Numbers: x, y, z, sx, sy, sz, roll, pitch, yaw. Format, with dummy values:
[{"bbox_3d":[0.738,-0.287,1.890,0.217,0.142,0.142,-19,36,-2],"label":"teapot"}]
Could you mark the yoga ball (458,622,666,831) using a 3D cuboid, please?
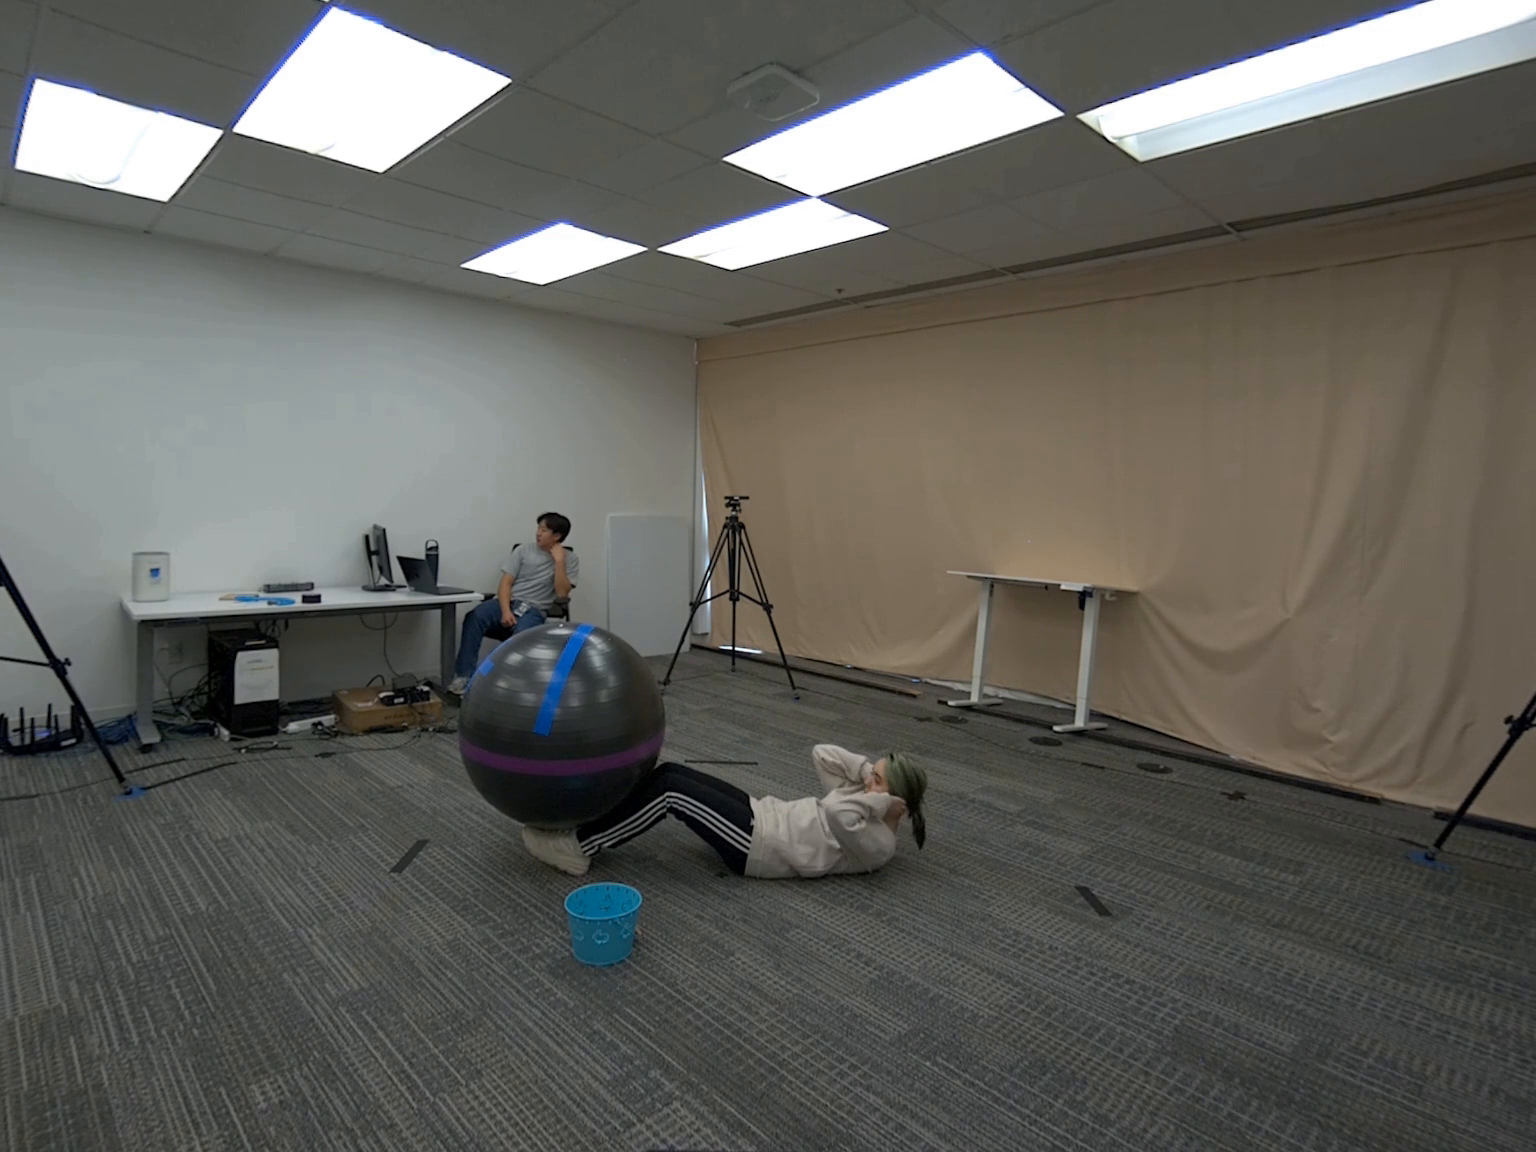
[{"bbox_3d":[-0.785,0.556,3.158,0.757,0.756,0.761,1,4,-1],"label":"yoga ball"}]
